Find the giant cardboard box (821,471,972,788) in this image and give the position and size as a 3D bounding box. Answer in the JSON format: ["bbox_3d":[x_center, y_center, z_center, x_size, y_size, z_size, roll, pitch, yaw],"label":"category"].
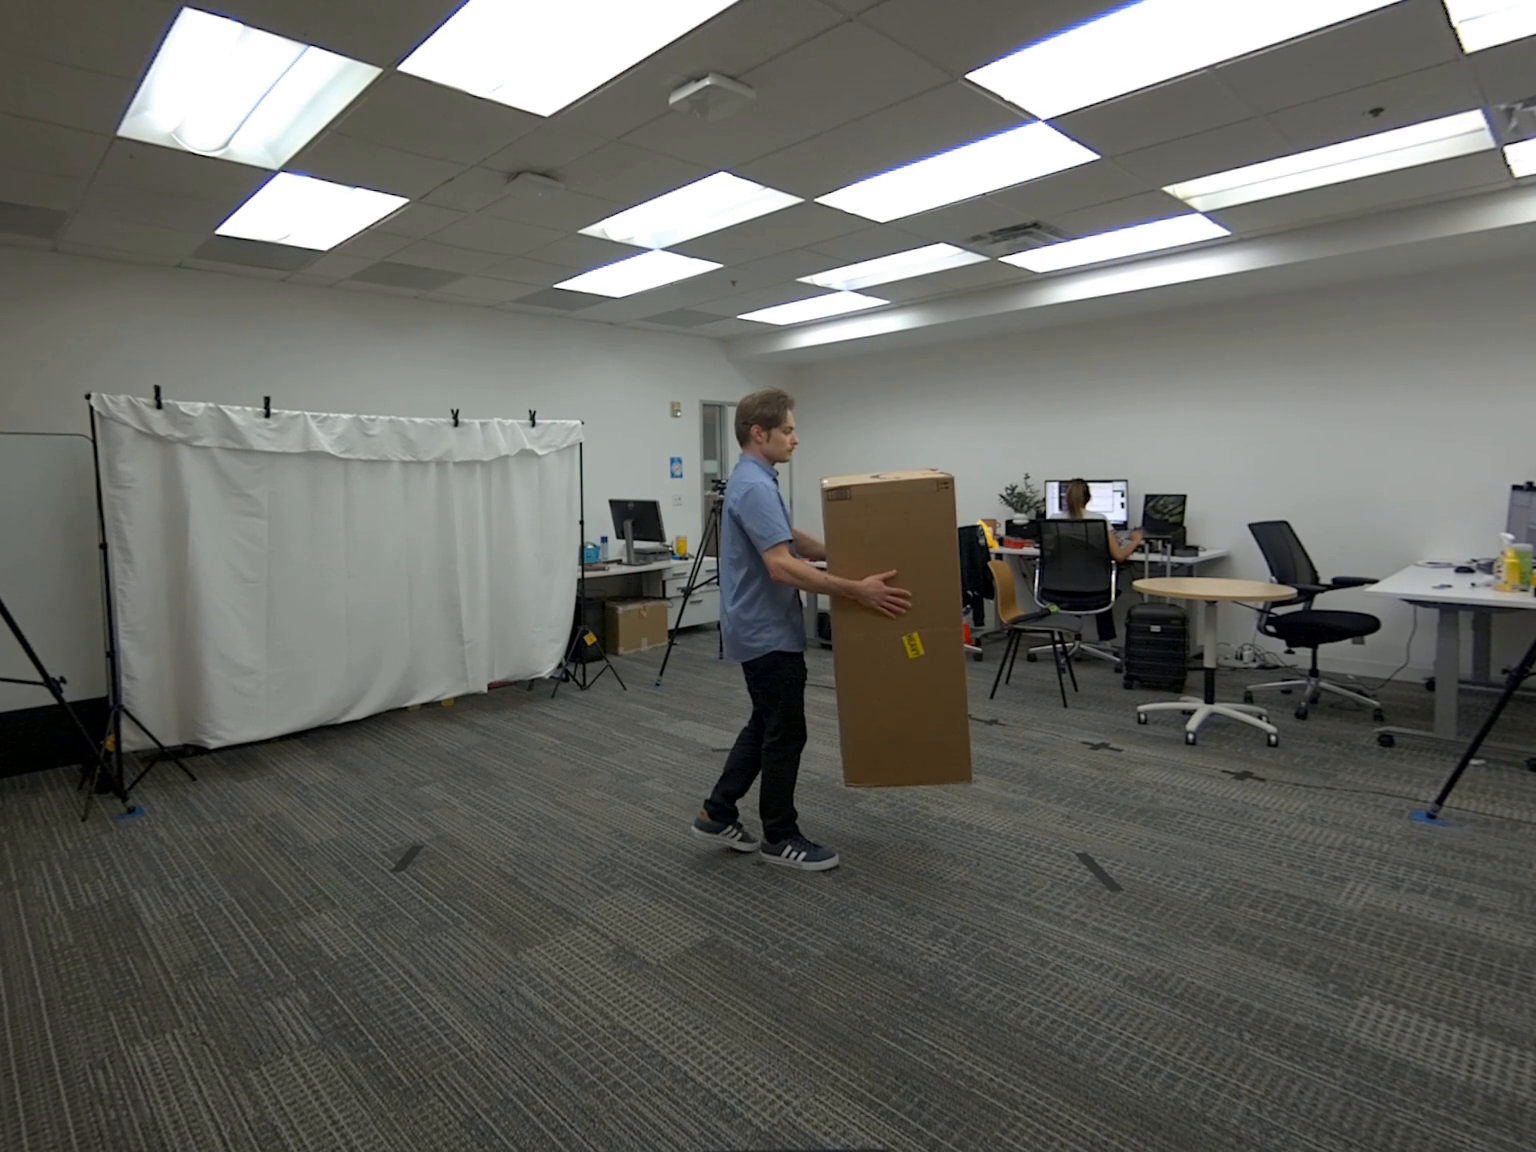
[{"bbox_3d":[0.445,0.154,3.082,0.429,1.019,0.578,-4,7,6],"label":"giant cardboard box"}]
